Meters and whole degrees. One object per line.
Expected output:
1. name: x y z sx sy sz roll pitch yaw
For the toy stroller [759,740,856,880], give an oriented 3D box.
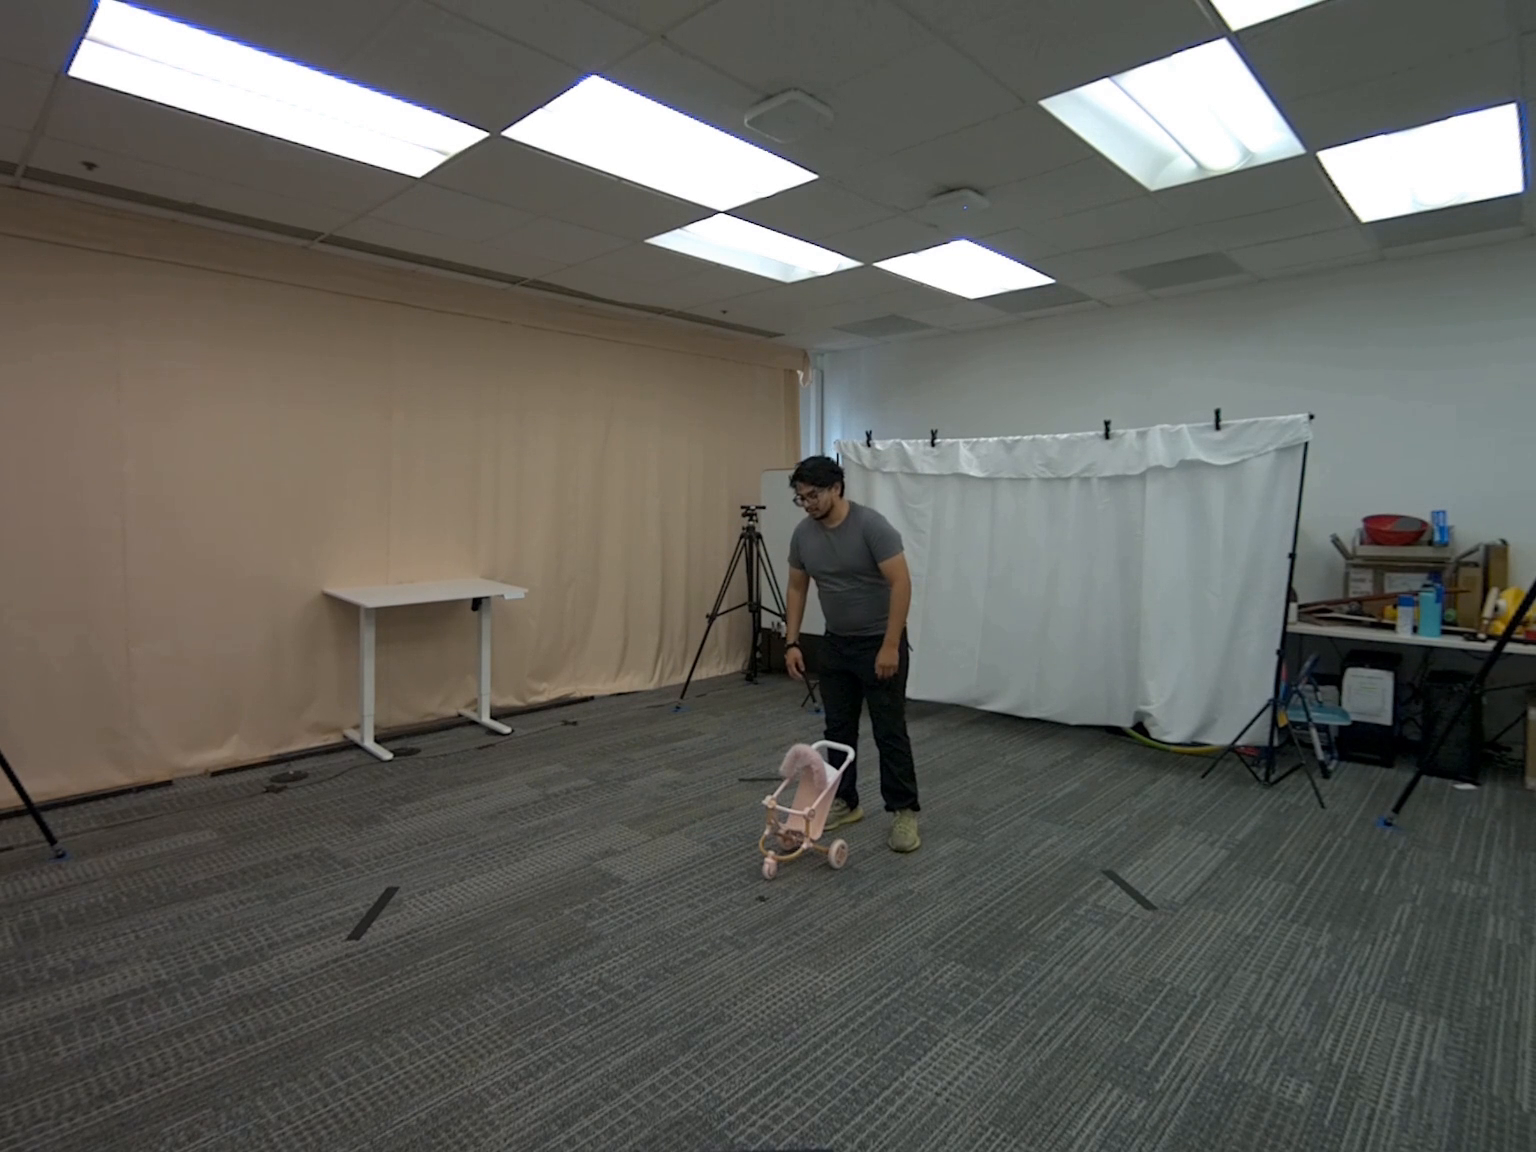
1. toy stroller: 0.134 0.896 3.266 0.329 0.537 0.291 19 -11 -42
